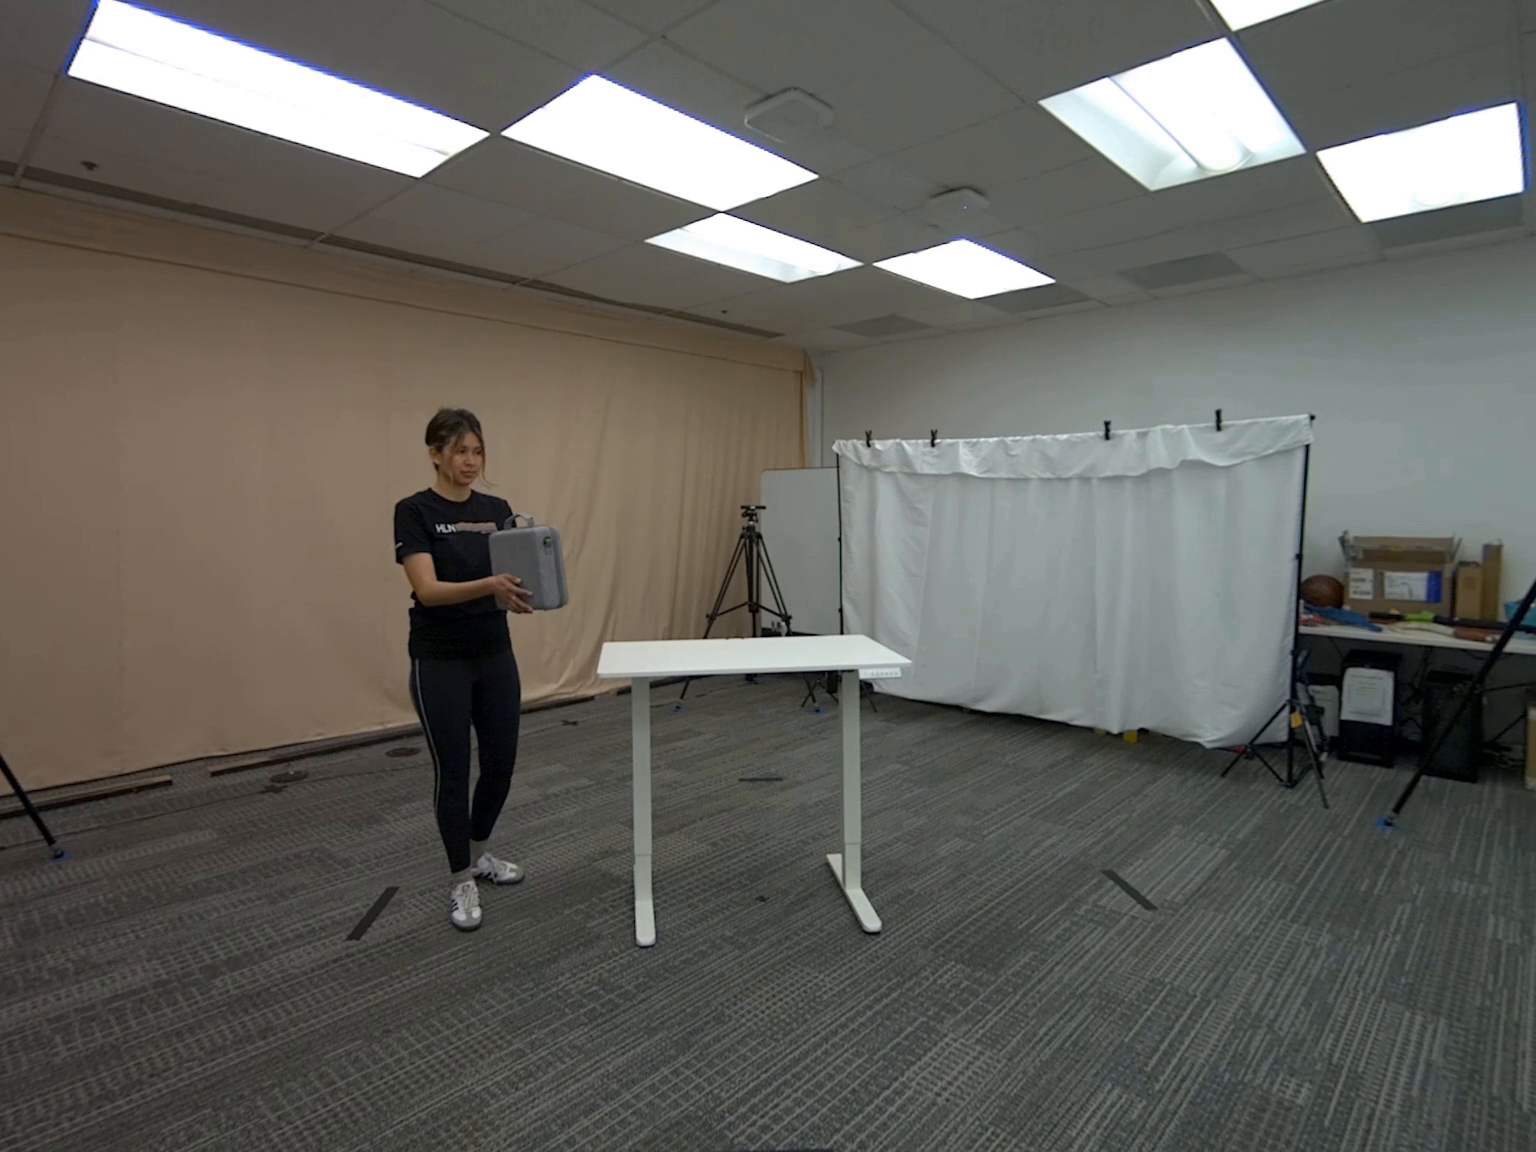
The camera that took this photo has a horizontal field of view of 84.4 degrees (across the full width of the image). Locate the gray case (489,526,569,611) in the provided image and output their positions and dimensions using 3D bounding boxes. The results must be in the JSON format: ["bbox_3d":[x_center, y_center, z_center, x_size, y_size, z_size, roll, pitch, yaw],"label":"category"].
[{"bbox_3d":[-0.741,-0.026,2.575,0.265,0.260,0.101,-4,3,40],"label":"gray case"}]
